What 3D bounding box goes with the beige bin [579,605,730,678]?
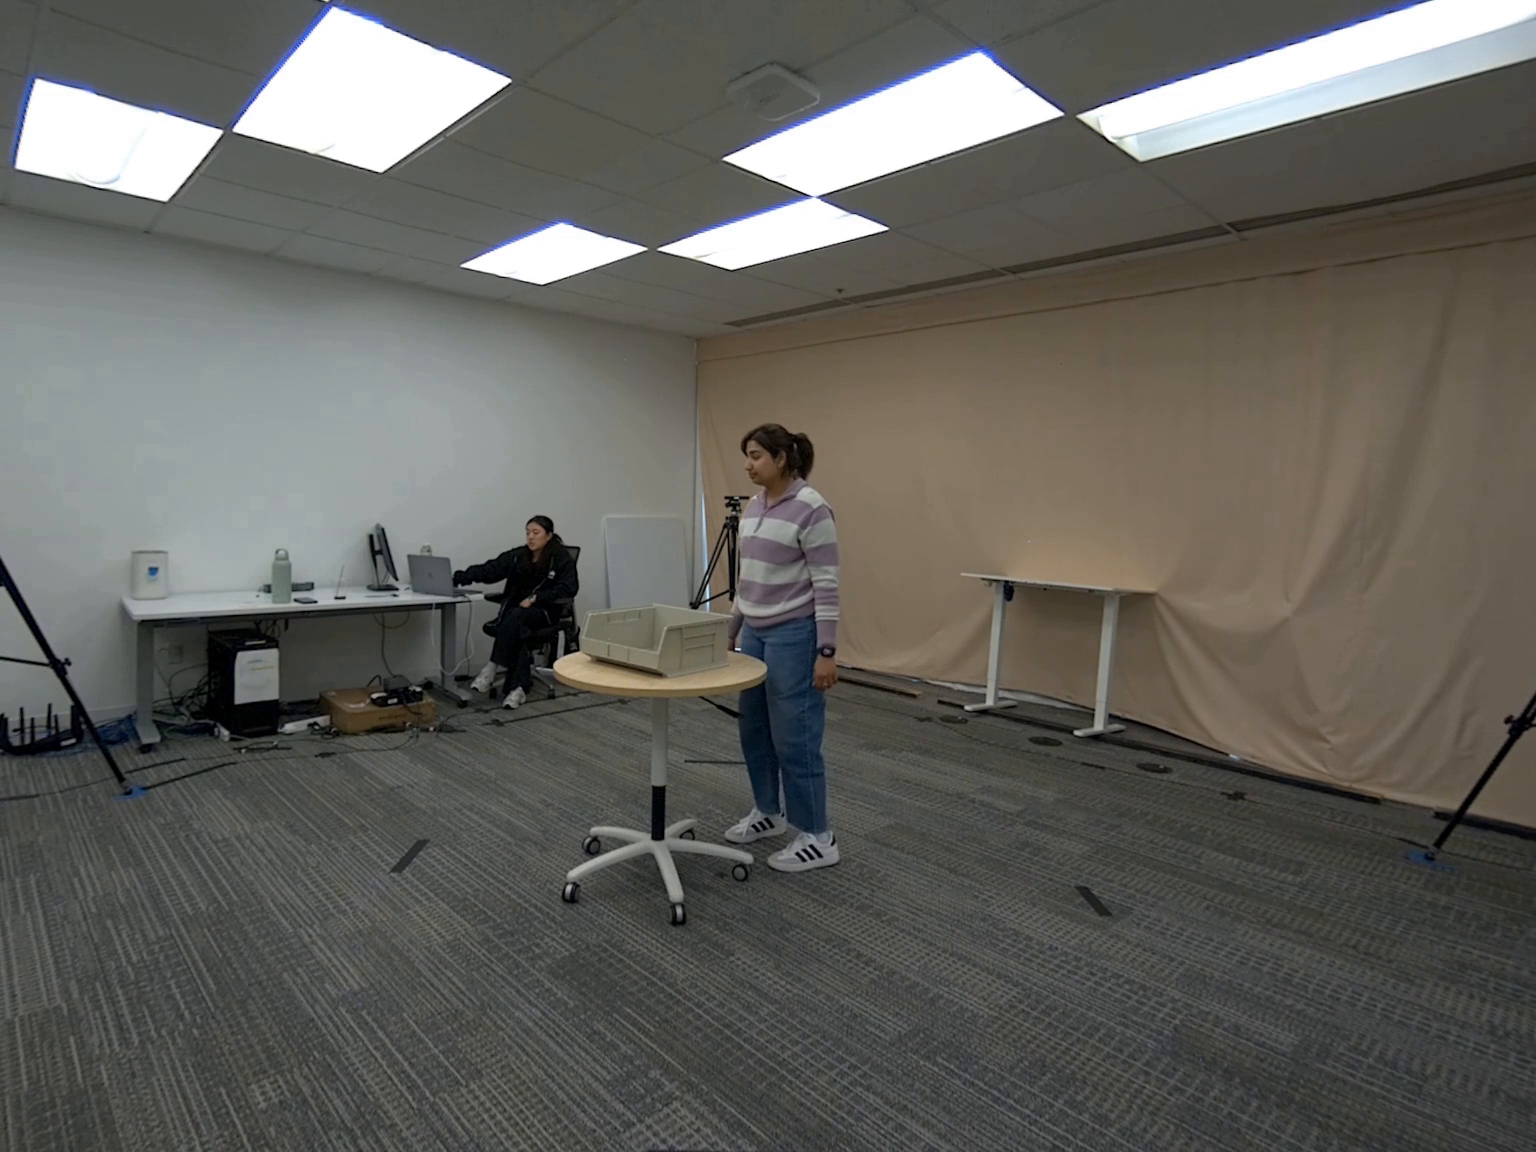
[{"bbox_3d":[-0.408,0.228,3.048,0.433,0.188,0.369,5,5,39],"label":"beige bin"}]
